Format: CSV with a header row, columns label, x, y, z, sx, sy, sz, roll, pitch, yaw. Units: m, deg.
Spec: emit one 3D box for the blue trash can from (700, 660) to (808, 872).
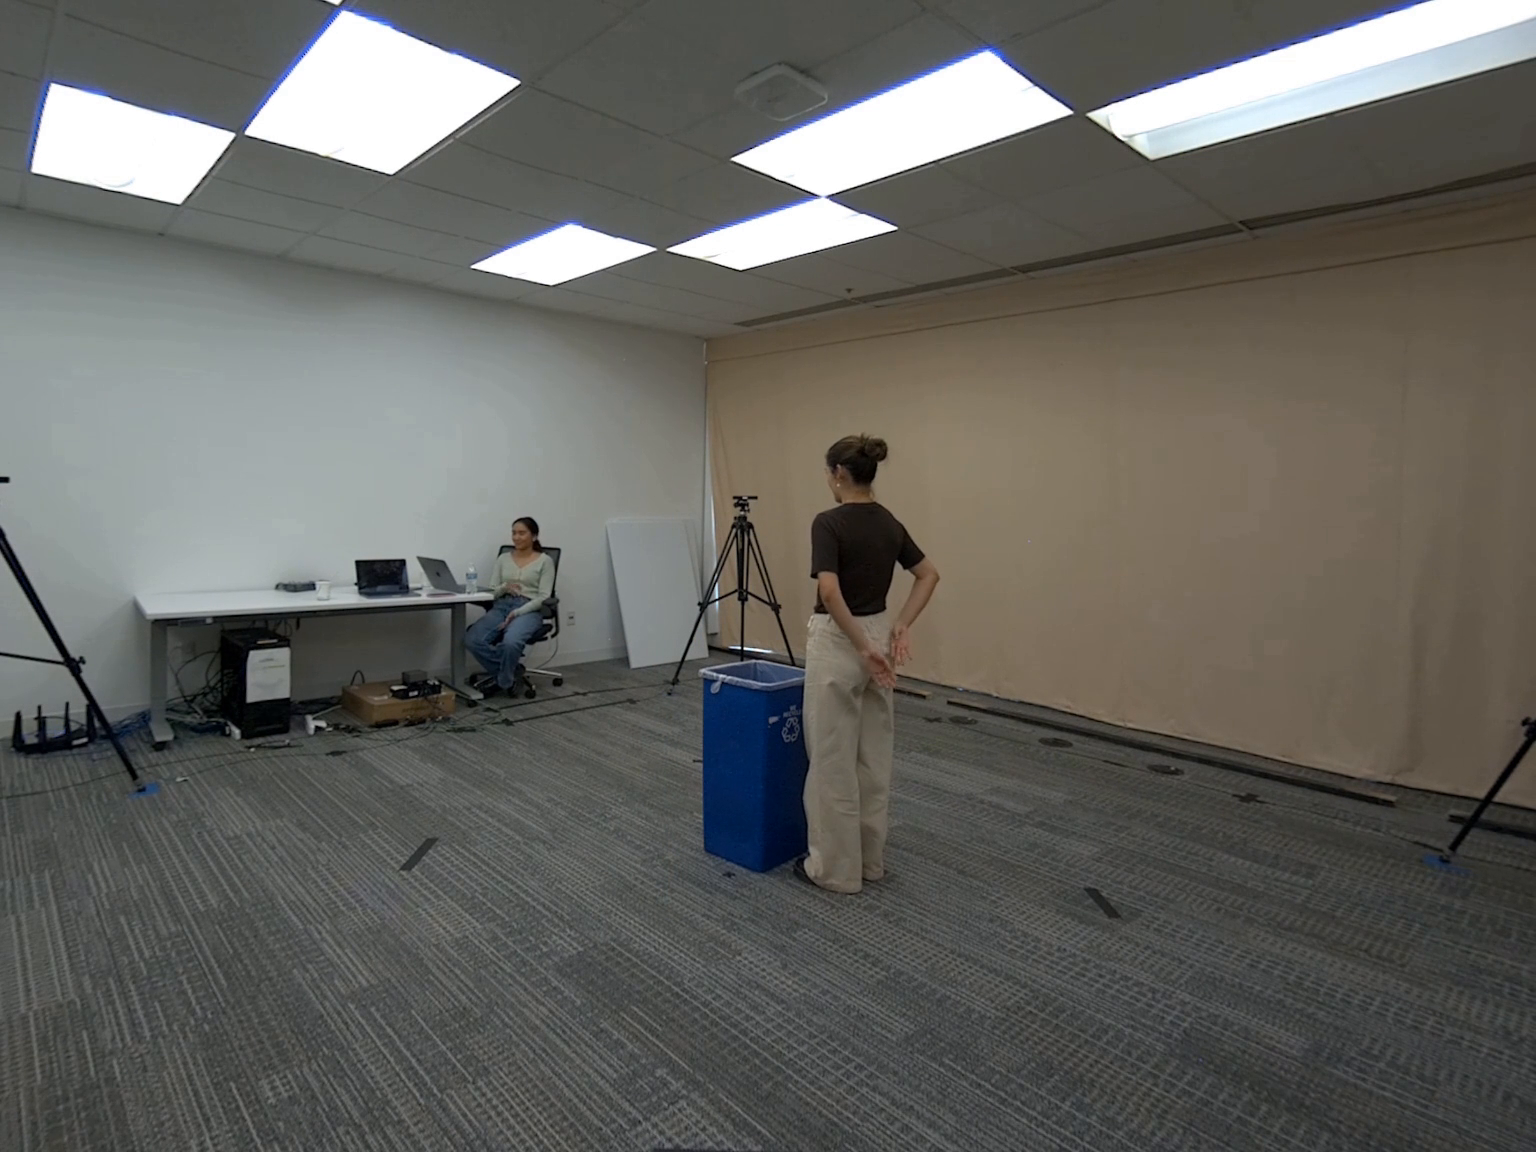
label,x,y,z,sx,sy,sz,roll,pitch,yaw
blue trash can,-0.035,0.729,3.310,0.383,0.712,0.369,4,3,41
